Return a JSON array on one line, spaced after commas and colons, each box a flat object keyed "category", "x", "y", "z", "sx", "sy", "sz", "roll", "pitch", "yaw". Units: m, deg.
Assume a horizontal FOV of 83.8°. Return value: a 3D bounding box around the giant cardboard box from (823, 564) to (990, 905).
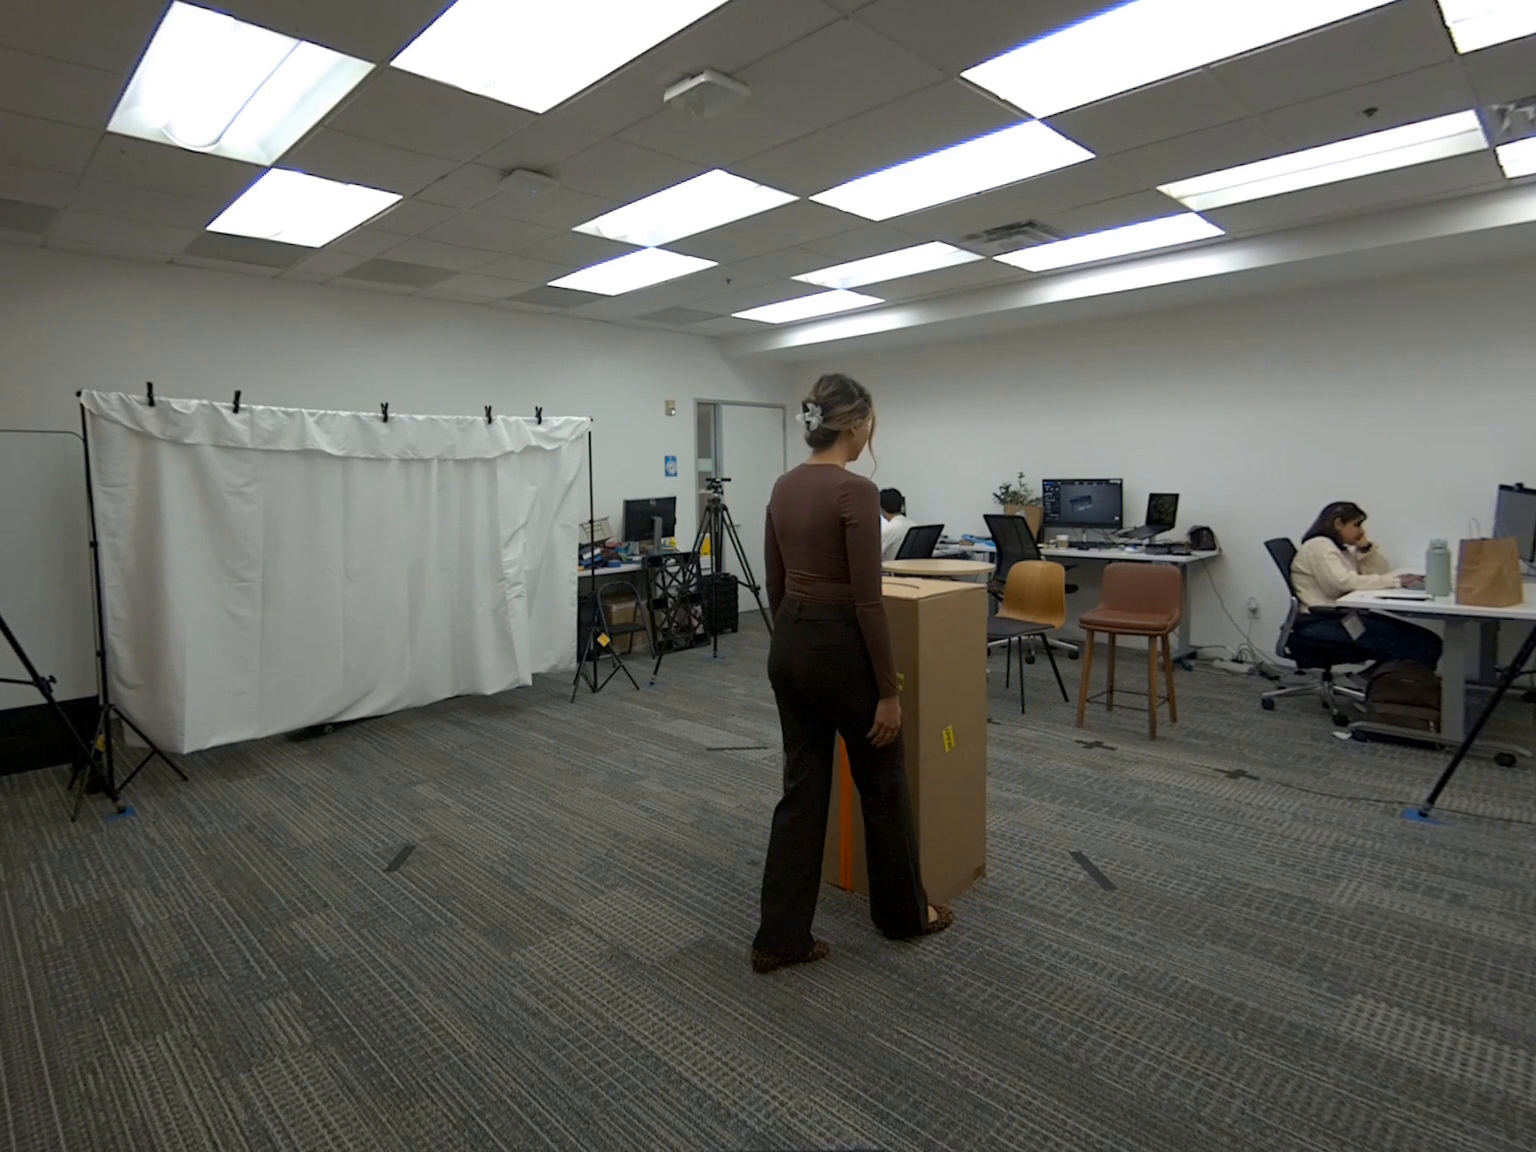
[{"category": "giant cardboard box", "x": 0.404, "y": 0.534, "z": 3.003, "sx": 0.435, "sy": 1.023, "sz": 0.602, "roll": -6, "pitch": 6, "yaw": -44}]
